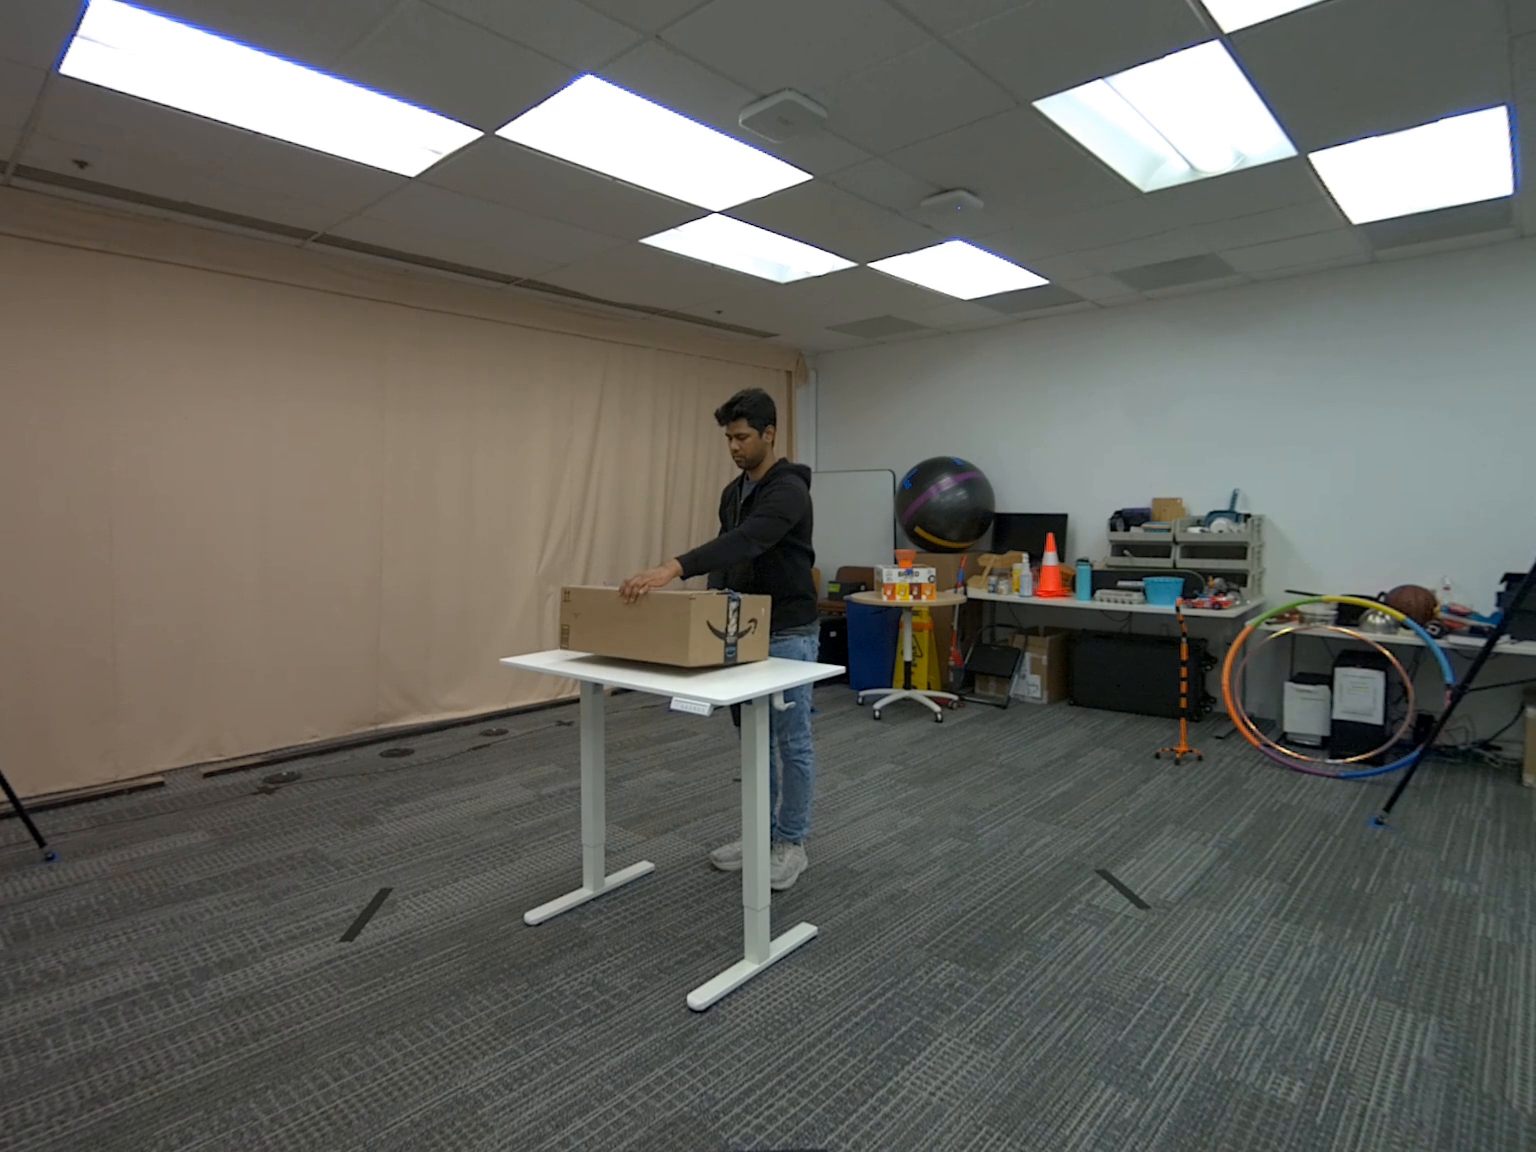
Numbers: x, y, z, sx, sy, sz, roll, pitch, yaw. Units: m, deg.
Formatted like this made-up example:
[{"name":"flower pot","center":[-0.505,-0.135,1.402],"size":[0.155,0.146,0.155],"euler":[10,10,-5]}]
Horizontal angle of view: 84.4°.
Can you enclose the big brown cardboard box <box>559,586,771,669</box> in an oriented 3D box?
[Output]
[{"name":"big brown cardboard box","center":[-0.339,0.150,2.803],"size":[0.607,0.233,0.404],"euler":[1,-1,36]}]
